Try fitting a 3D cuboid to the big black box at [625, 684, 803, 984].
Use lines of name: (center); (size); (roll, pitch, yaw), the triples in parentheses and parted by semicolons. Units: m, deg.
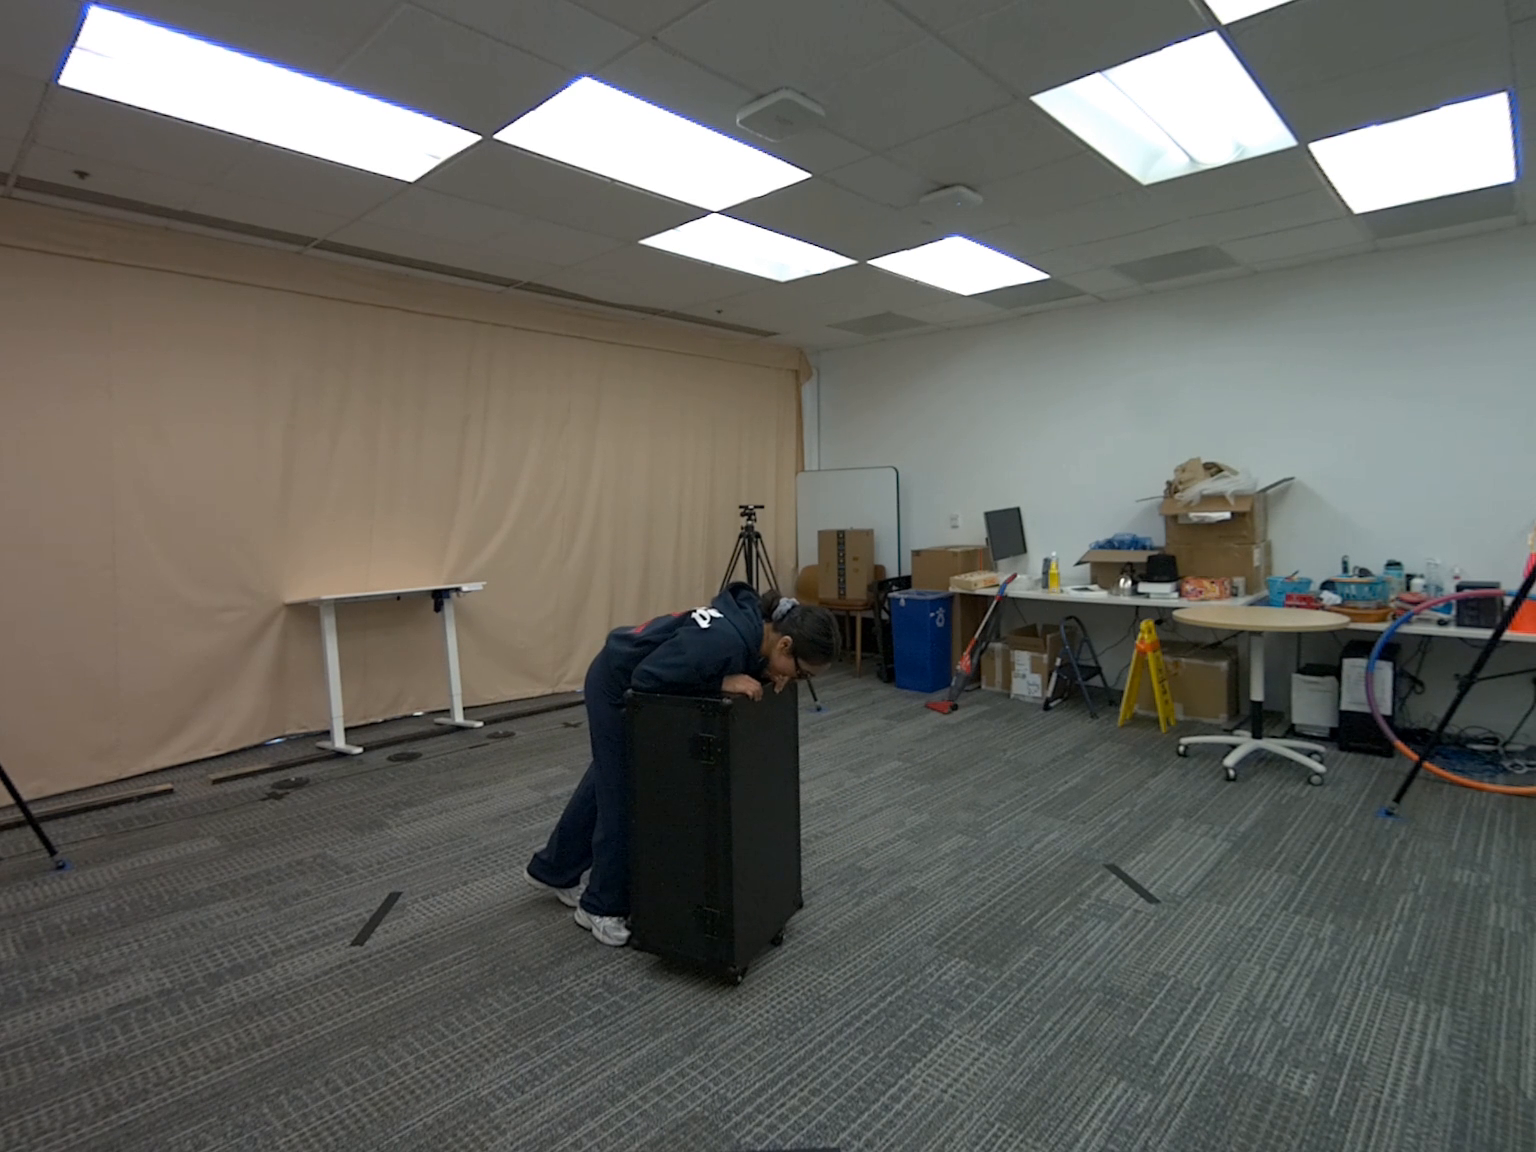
big black box: (-0.161, 0.754, 2.629); (0.407, 0.860, 0.508); (-1, 3, 27)
